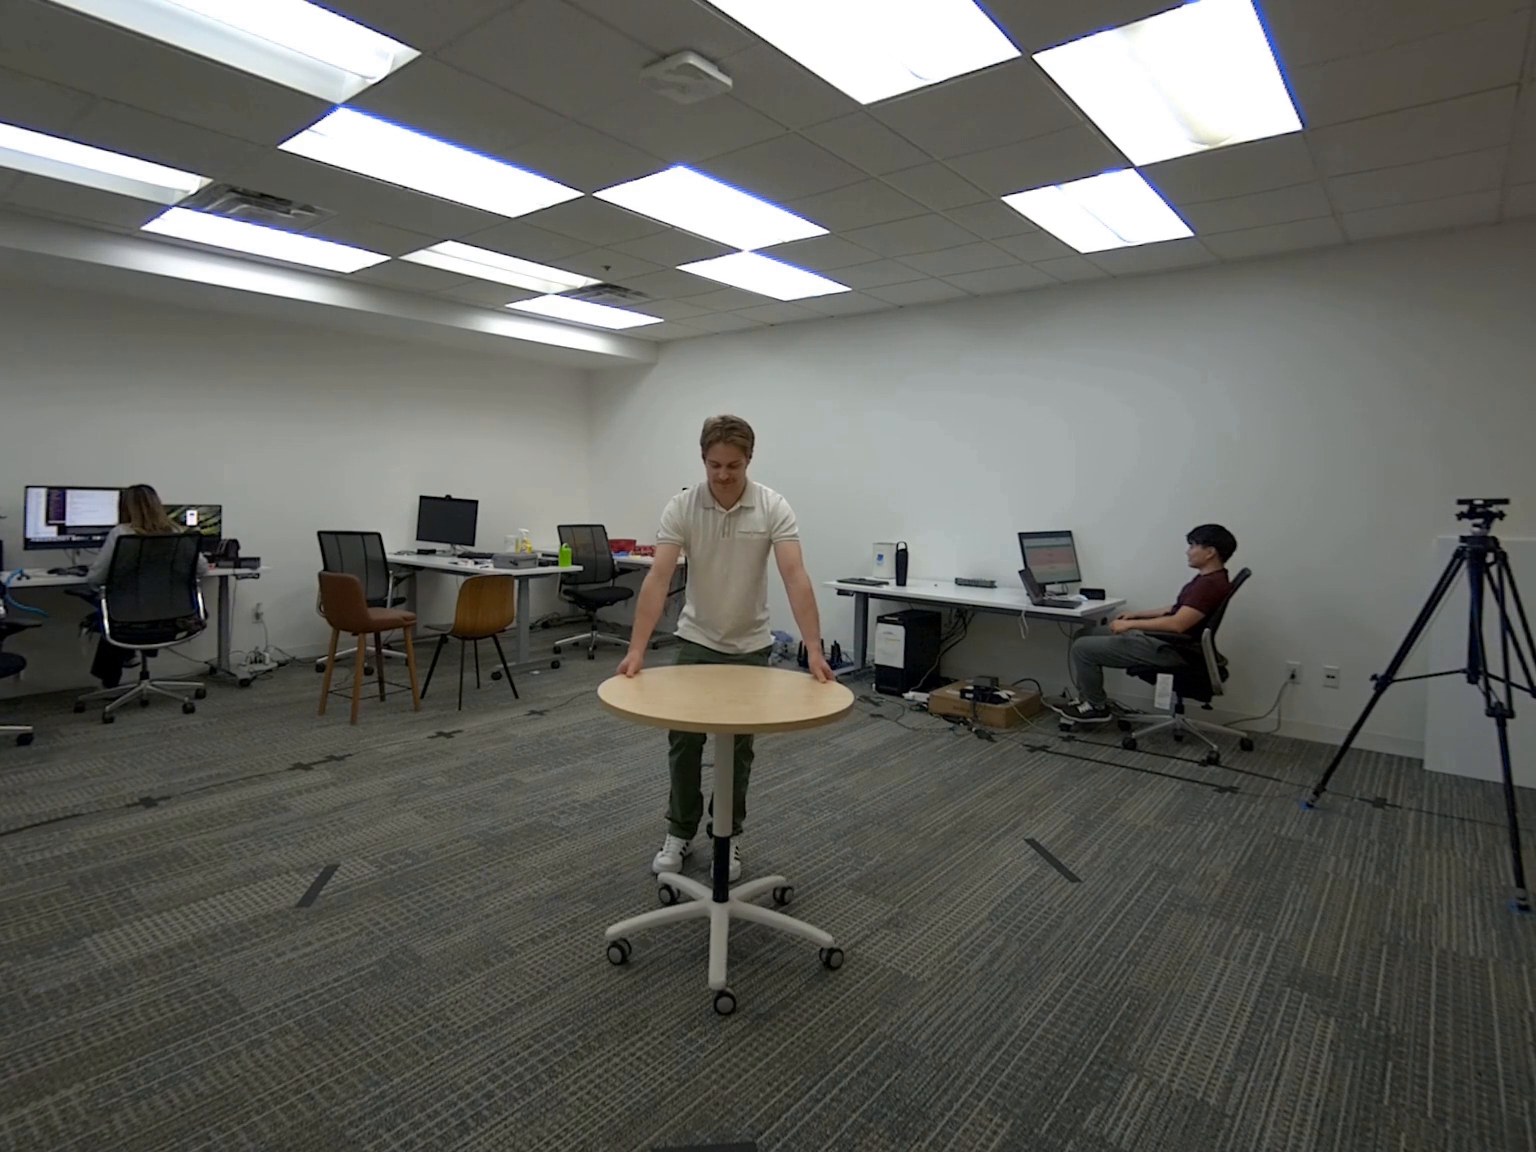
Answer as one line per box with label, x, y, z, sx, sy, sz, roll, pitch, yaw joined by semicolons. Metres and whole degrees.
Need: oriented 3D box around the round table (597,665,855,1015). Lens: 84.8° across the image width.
round table;-0.145;0.732;2.582;0.763;0.792;0.767;1;4;-2
